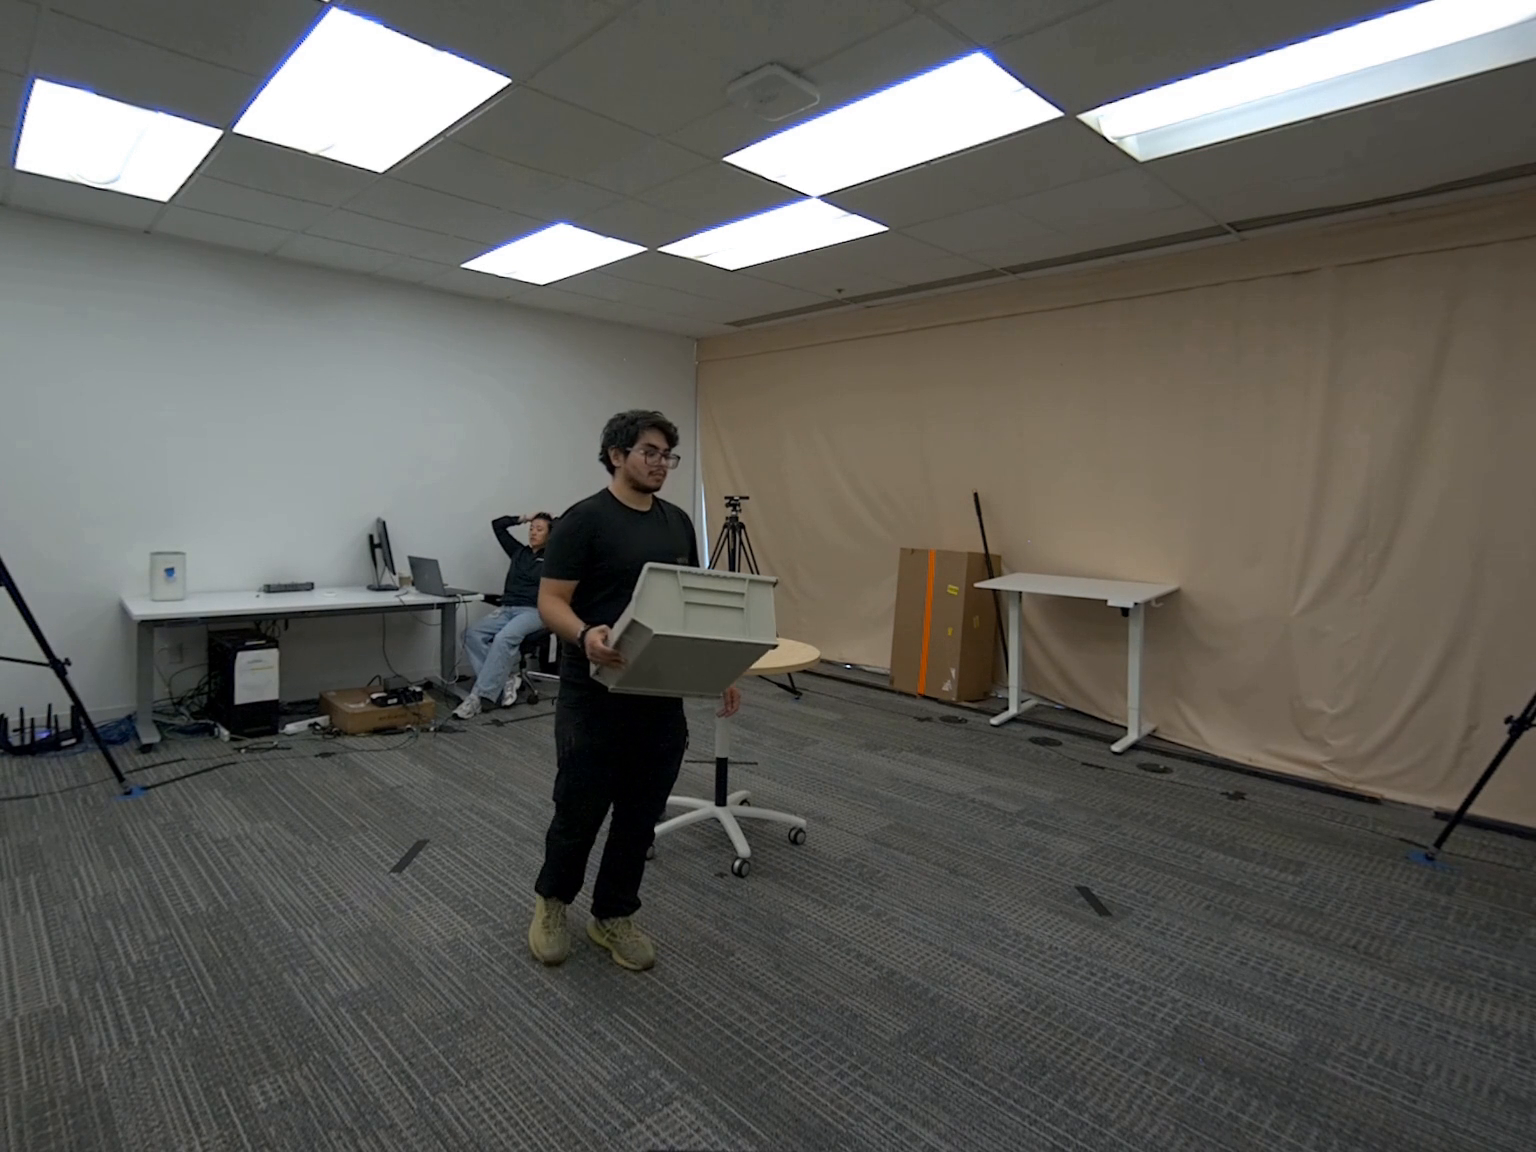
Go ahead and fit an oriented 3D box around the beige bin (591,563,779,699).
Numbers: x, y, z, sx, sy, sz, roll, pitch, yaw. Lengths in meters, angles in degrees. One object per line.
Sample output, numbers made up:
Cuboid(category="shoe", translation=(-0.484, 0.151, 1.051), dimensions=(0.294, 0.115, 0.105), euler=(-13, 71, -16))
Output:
Cuboid(category="beige bin", translation=(-0.233, 0.157, 2.142), dimensions=(0.371, 0.193, 0.421), euler=(10, -30, -21))
